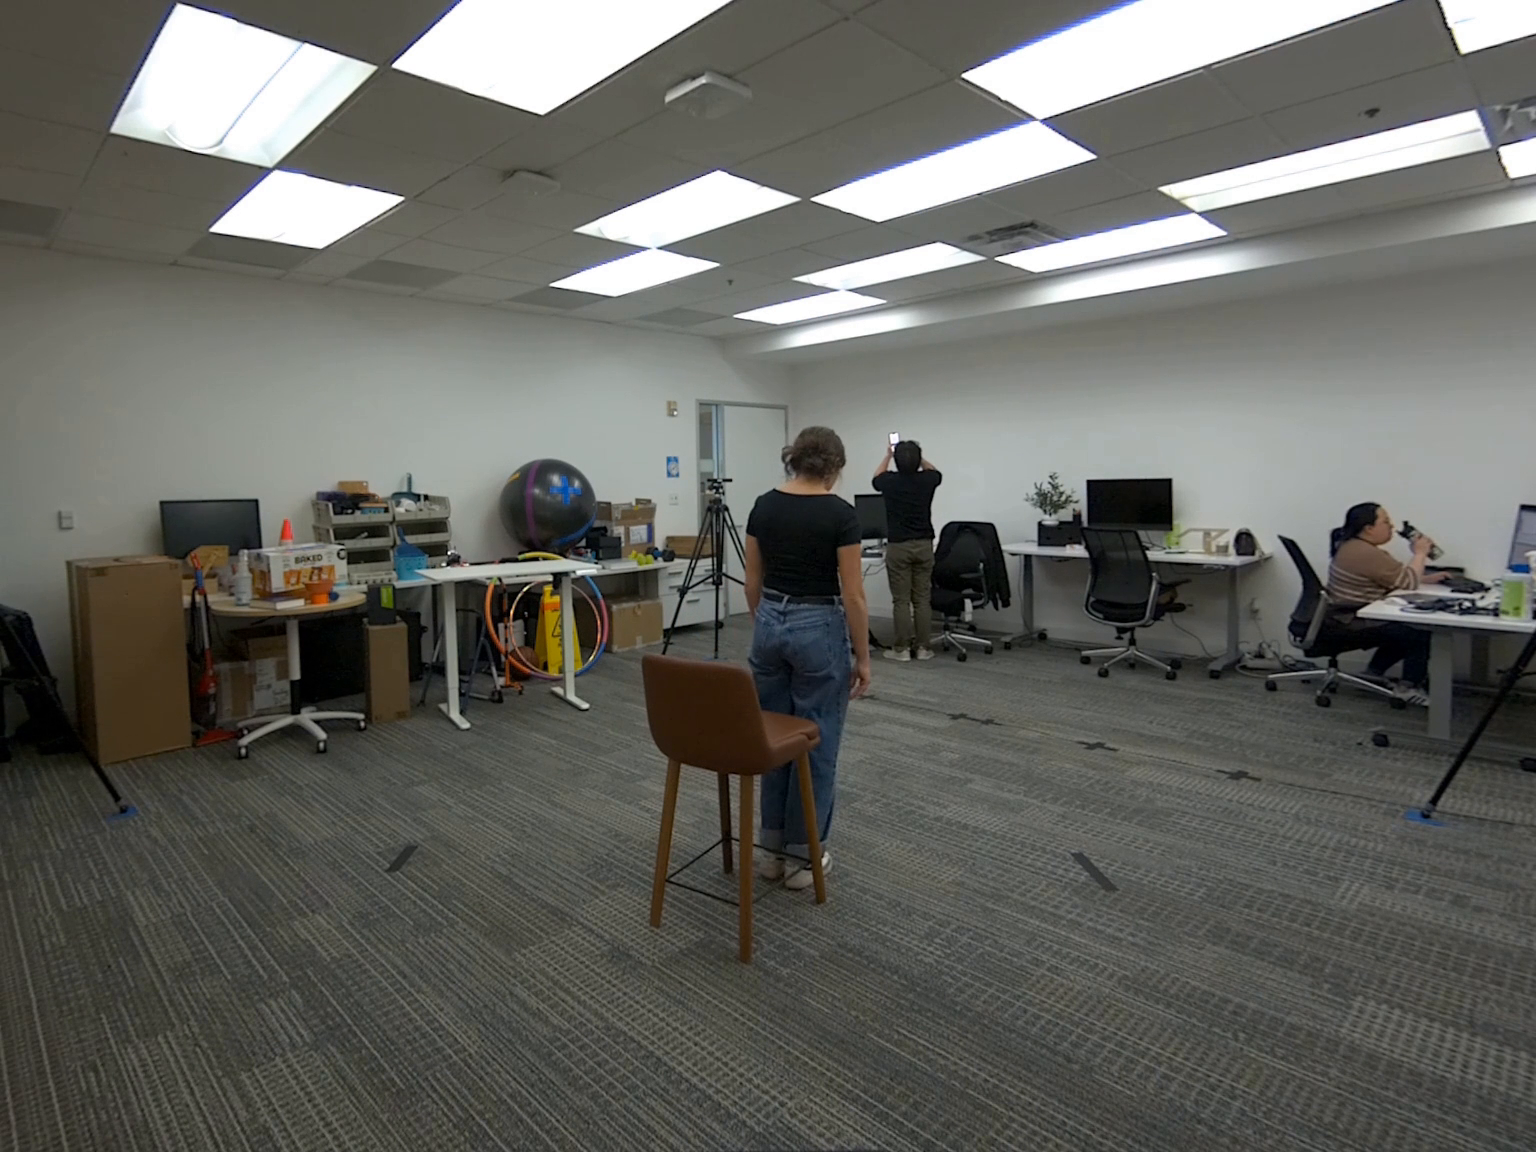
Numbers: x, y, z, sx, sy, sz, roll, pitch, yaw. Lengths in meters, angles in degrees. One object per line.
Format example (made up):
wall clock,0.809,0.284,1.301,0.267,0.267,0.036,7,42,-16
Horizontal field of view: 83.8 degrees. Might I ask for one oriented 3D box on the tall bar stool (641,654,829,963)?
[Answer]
tall bar stool,-0.108,0.659,2.724,0.469,0.885,0.457,2,7,35
